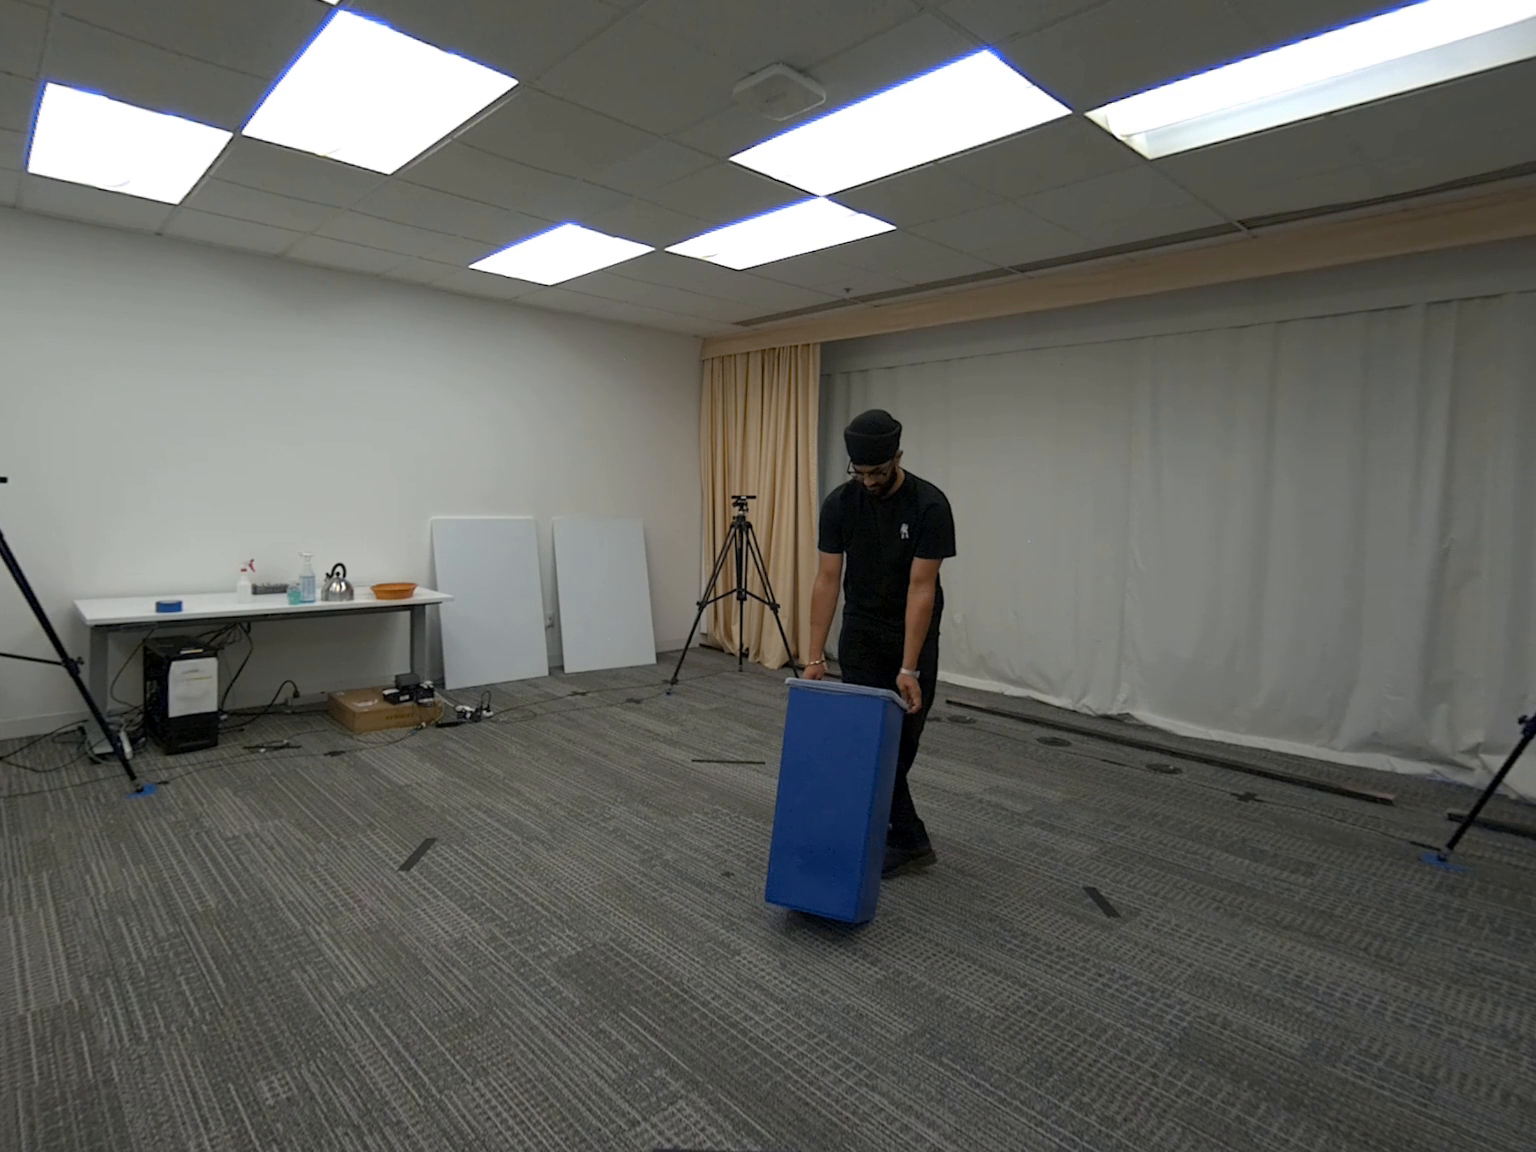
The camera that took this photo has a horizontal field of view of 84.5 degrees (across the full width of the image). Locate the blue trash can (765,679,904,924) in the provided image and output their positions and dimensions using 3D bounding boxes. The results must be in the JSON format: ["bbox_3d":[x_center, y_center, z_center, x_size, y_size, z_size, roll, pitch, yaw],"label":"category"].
[{"bbox_3d":[0.217,0.747,2.842,0.385,0.720,0.364,4,-16,21],"label":"blue trash can"}]
